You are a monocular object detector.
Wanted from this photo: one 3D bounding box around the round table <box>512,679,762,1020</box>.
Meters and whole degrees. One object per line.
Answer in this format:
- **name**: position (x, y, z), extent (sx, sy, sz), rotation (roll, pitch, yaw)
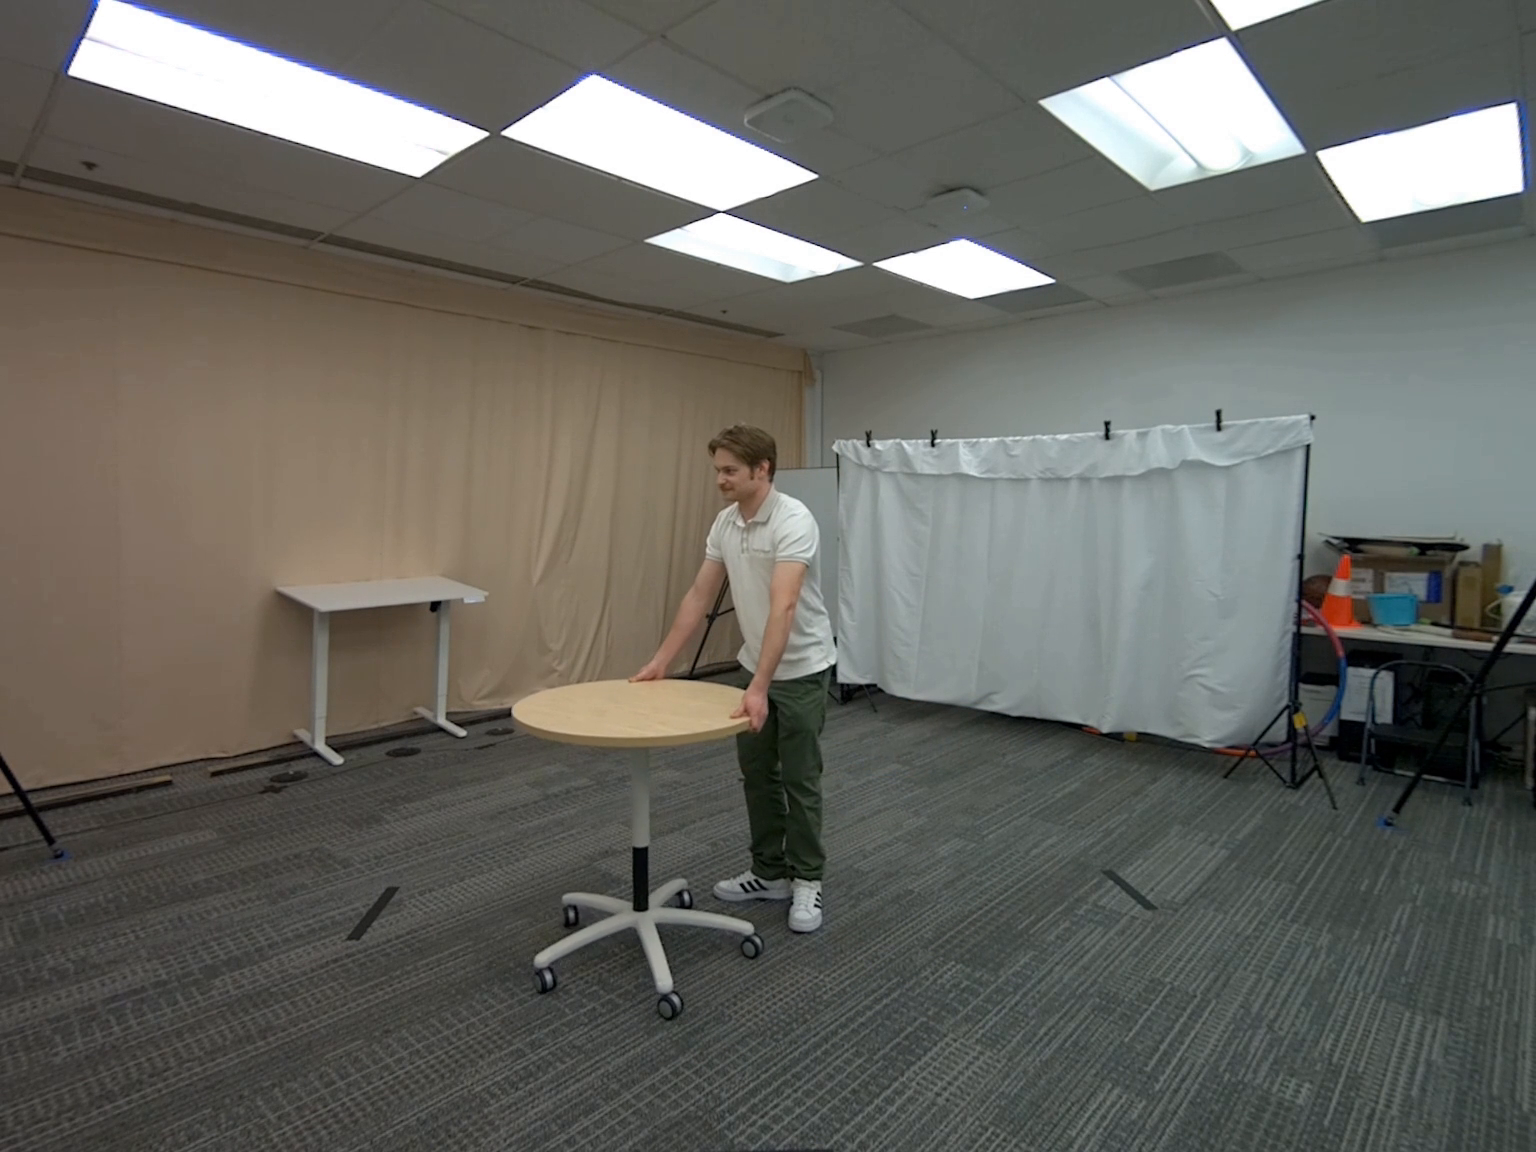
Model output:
- **round table**: position (-0.394, 0.789, 2.607), extent (0.763, 0.792, 0.766), rotation (0, 4, -2)
